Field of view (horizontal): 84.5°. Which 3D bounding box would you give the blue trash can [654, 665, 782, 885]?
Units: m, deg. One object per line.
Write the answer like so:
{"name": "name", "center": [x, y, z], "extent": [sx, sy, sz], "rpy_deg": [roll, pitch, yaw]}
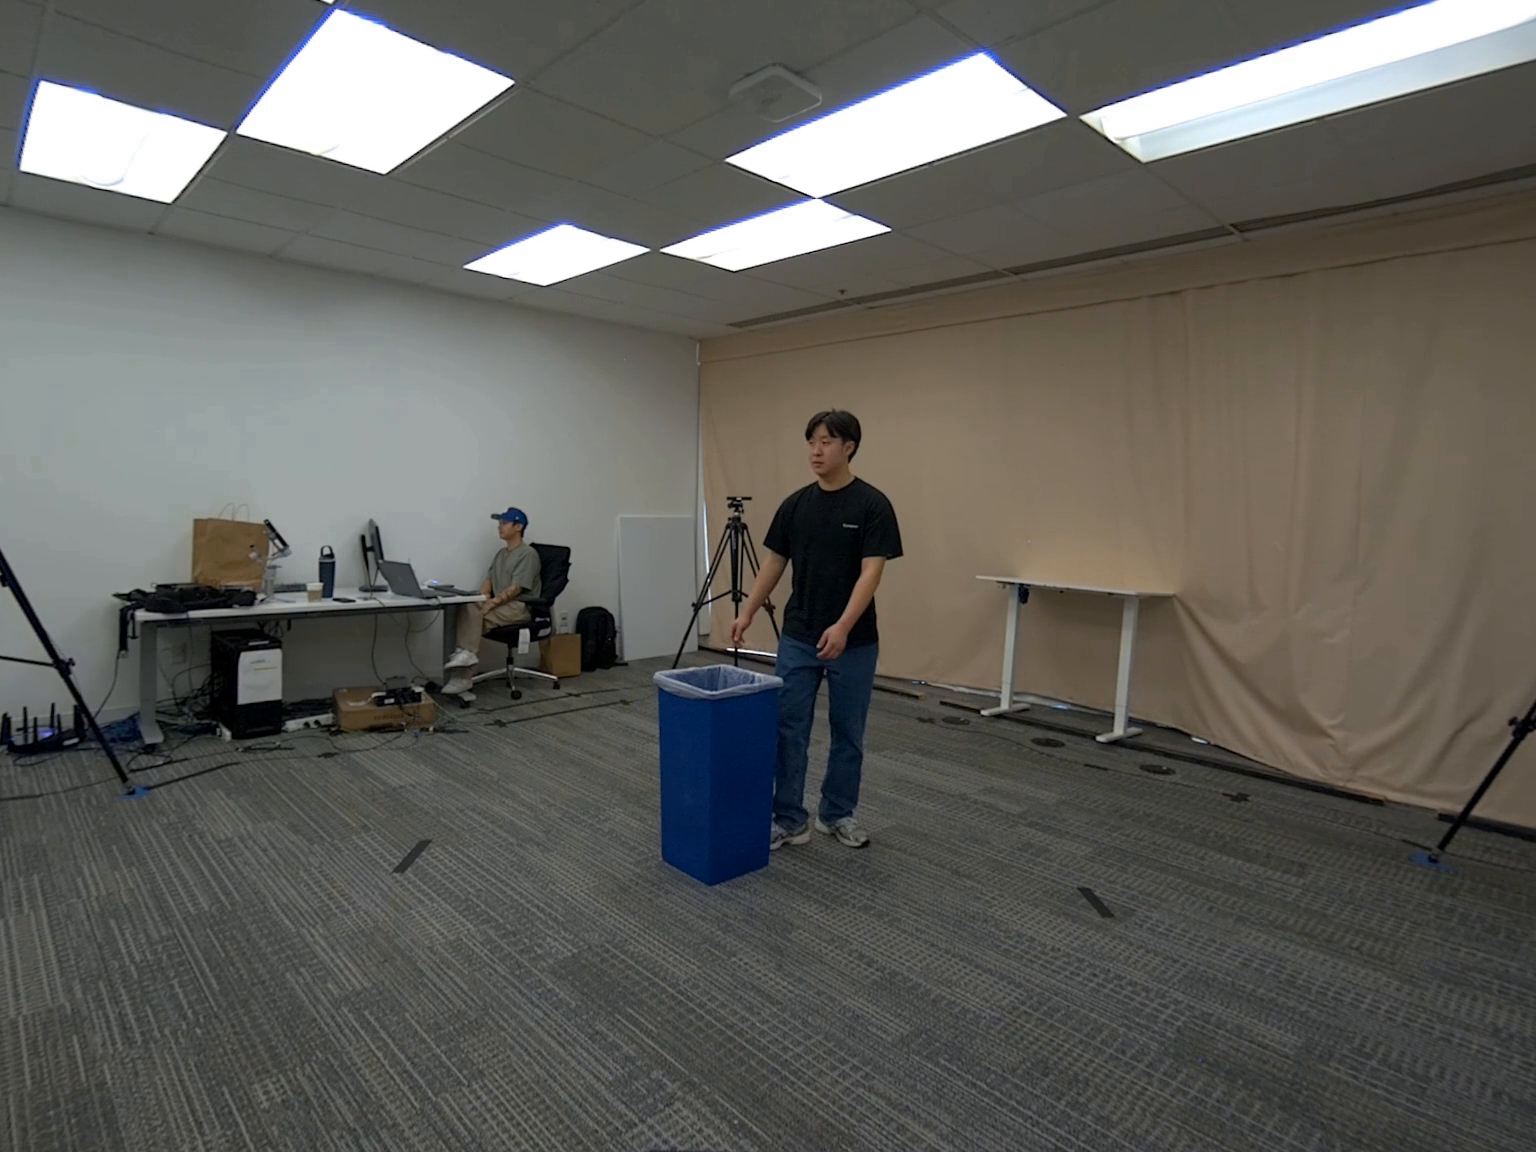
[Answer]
{"name": "blue trash can", "center": [-0.204, 0.739, 3.195], "extent": [0.365, 0.712, 0.387], "rpy_deg": [-1, 4, -42]}
